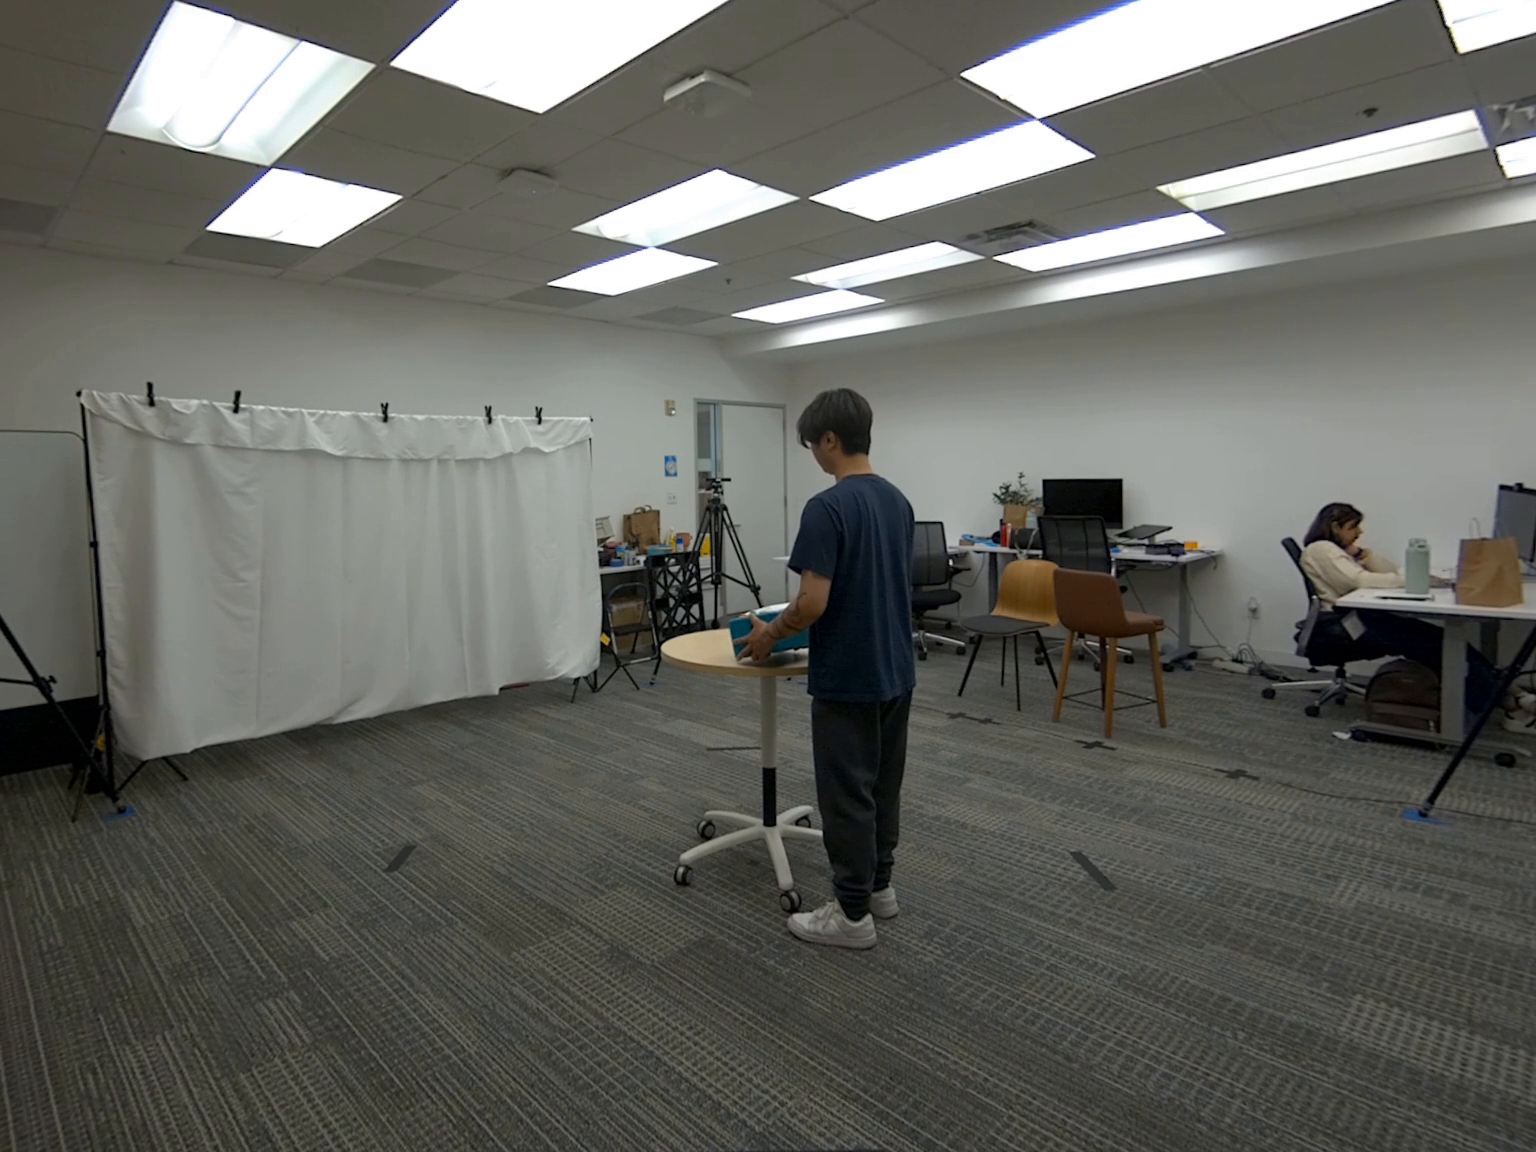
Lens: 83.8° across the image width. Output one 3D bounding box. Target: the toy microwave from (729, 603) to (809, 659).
[{"bbox_3d":[0.021,0.172,2.820,0.188,0.153,0.278,-15,-6,37],"label":"toy microwave"}]
